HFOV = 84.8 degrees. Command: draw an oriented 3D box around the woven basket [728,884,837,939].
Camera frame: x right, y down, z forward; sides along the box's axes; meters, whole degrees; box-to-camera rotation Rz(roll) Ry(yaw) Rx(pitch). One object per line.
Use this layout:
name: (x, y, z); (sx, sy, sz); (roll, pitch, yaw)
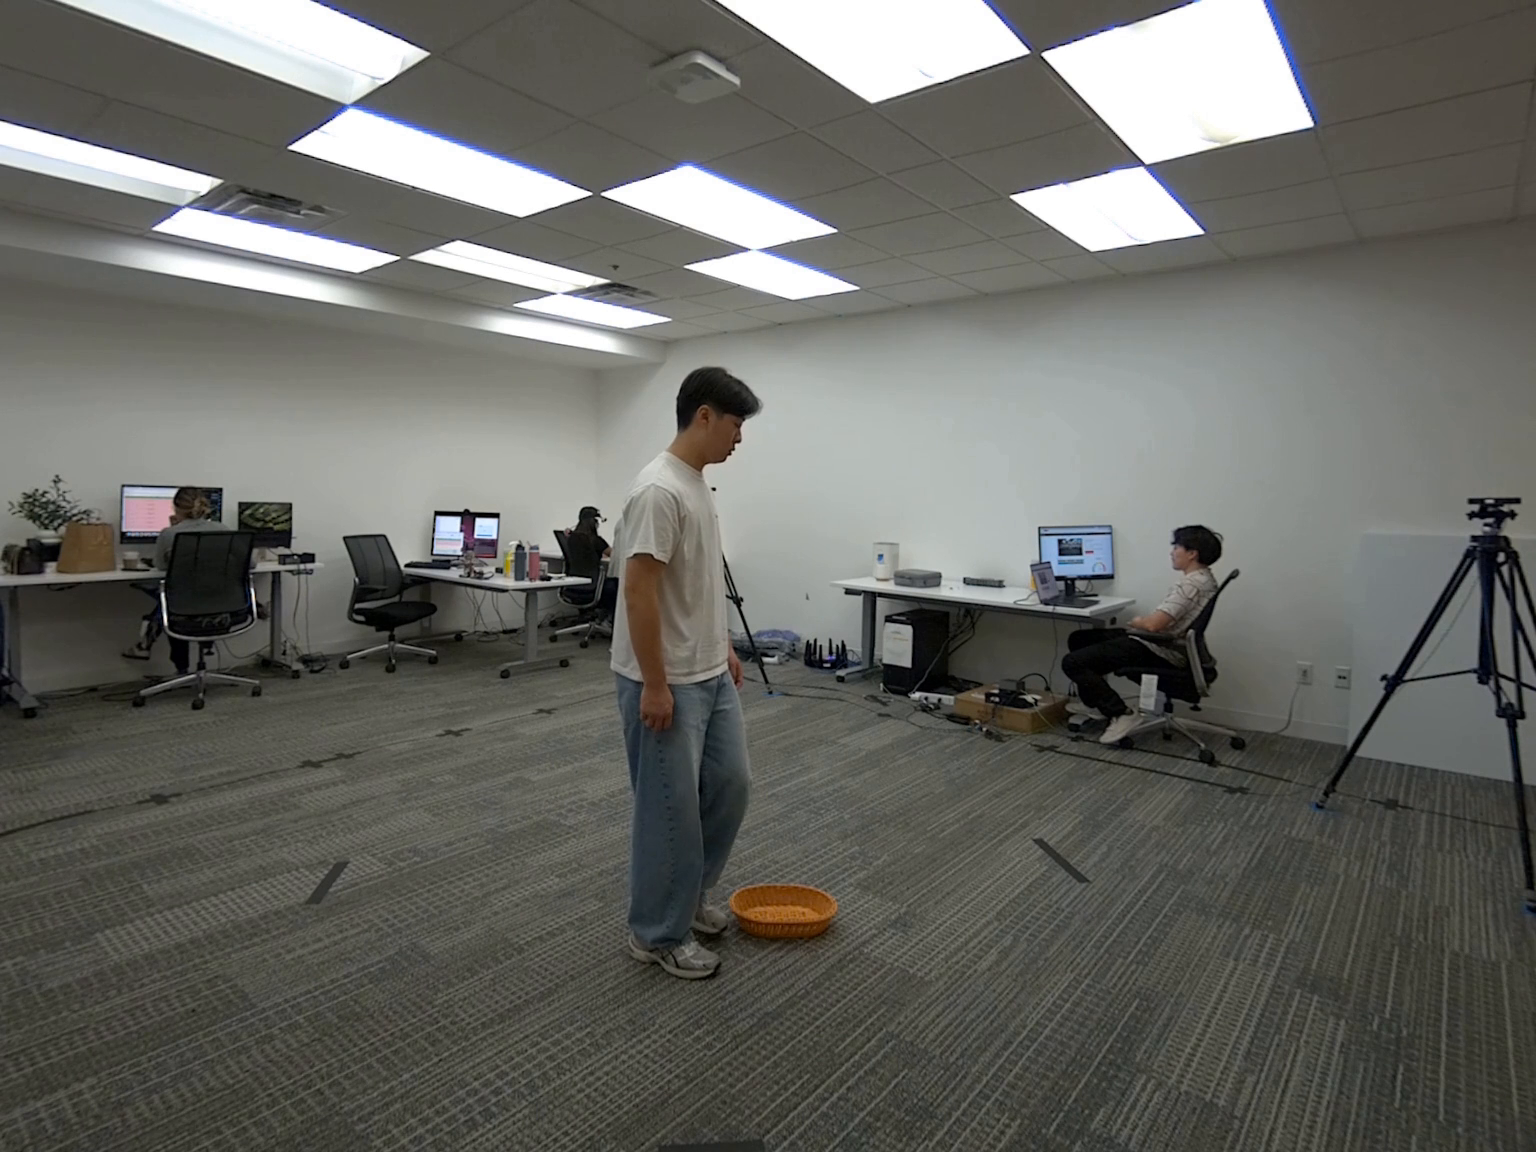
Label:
woven basket: (0.036, 1.071, 2.714); (0.350, 0.073, 0.253); (1, 5, -1)
